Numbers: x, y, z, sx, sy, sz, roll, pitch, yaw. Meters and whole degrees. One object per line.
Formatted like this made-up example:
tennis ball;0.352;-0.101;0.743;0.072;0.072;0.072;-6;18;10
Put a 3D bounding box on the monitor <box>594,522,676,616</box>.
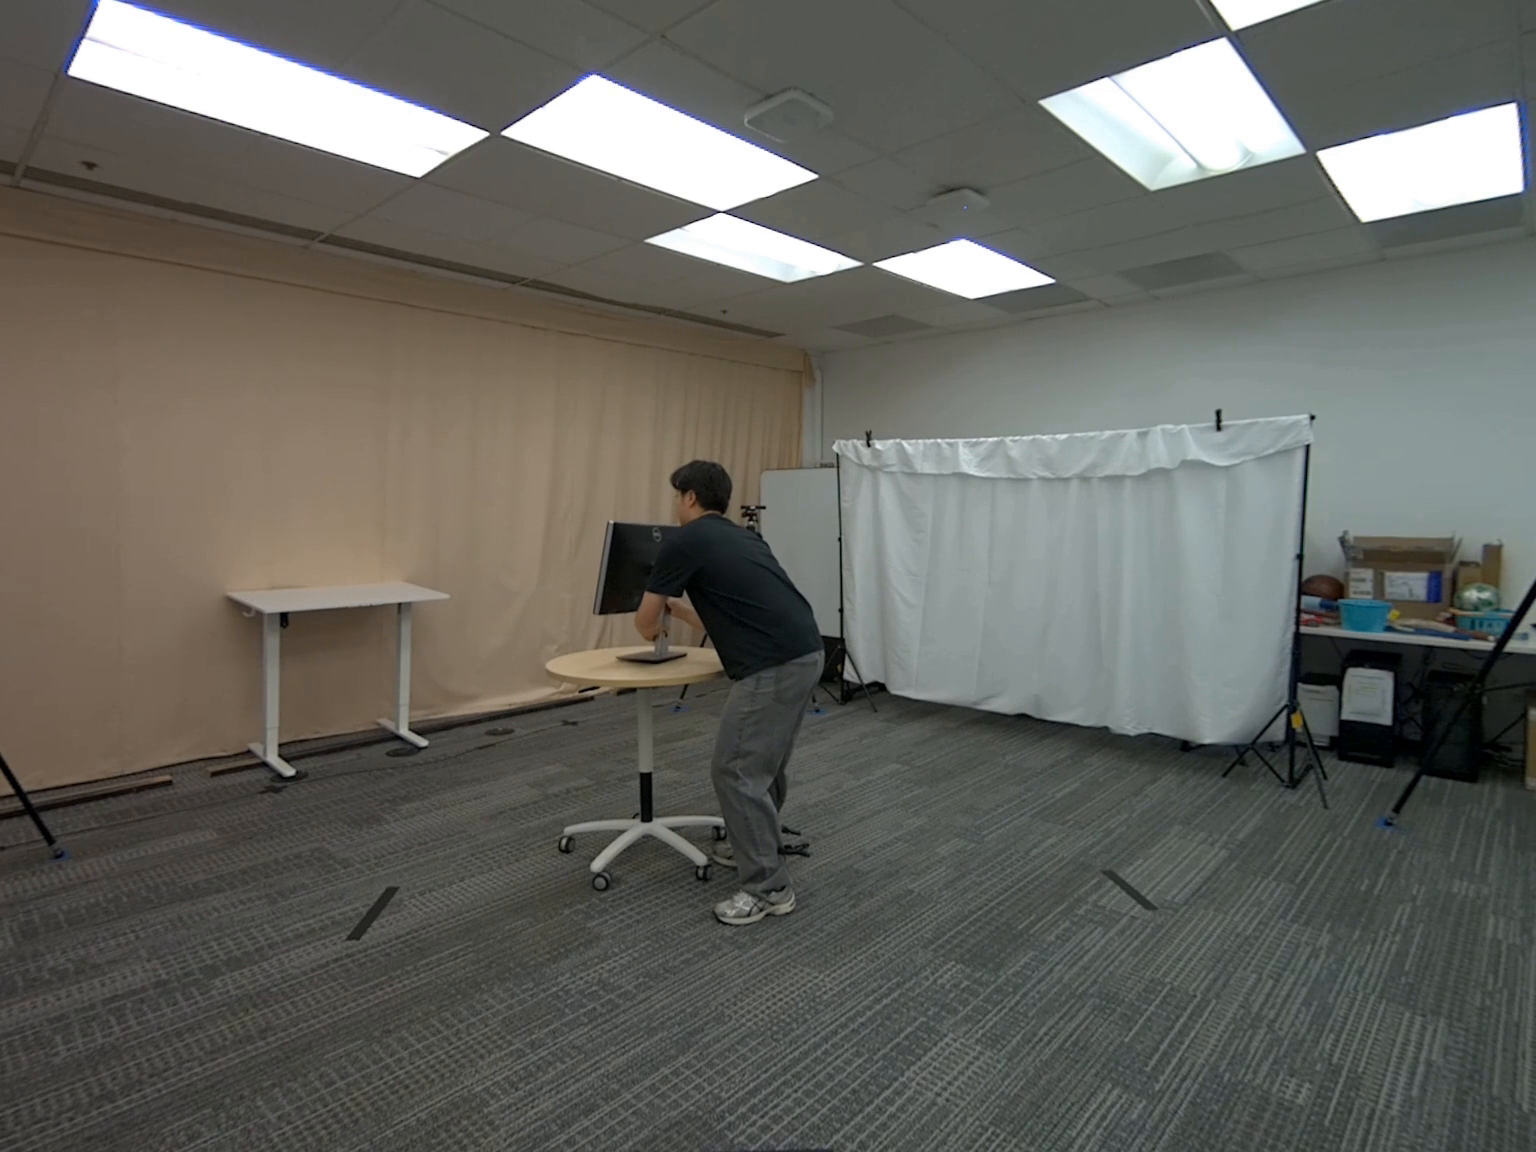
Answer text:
monitor;-0.470;0.068;3.390;0.228;0.566;0.546;-3;-2;30
